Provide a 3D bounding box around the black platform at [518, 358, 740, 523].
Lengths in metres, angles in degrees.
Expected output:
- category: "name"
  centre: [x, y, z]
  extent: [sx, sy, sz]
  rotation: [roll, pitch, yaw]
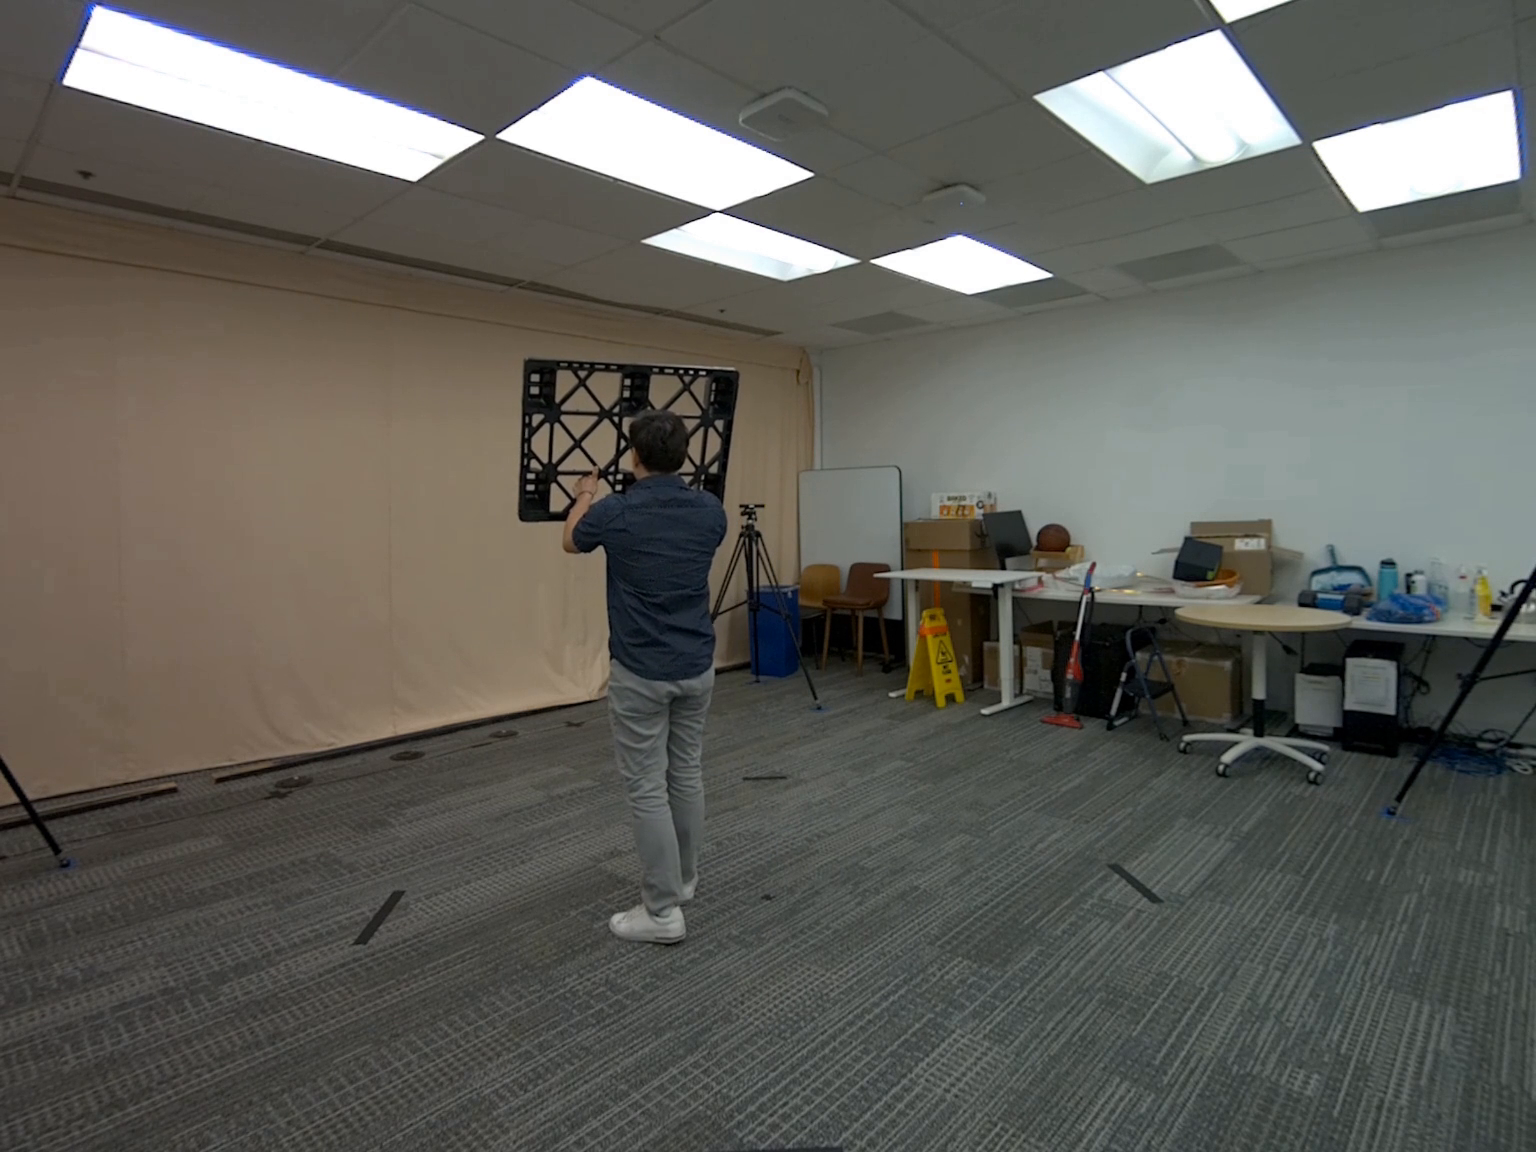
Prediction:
- category: "black platform"
  centre: [-0.530, -0.508, 3.165]
  extent: [0.788, 0.599, 0.148]
  rotation: [-1, 23, -22]
